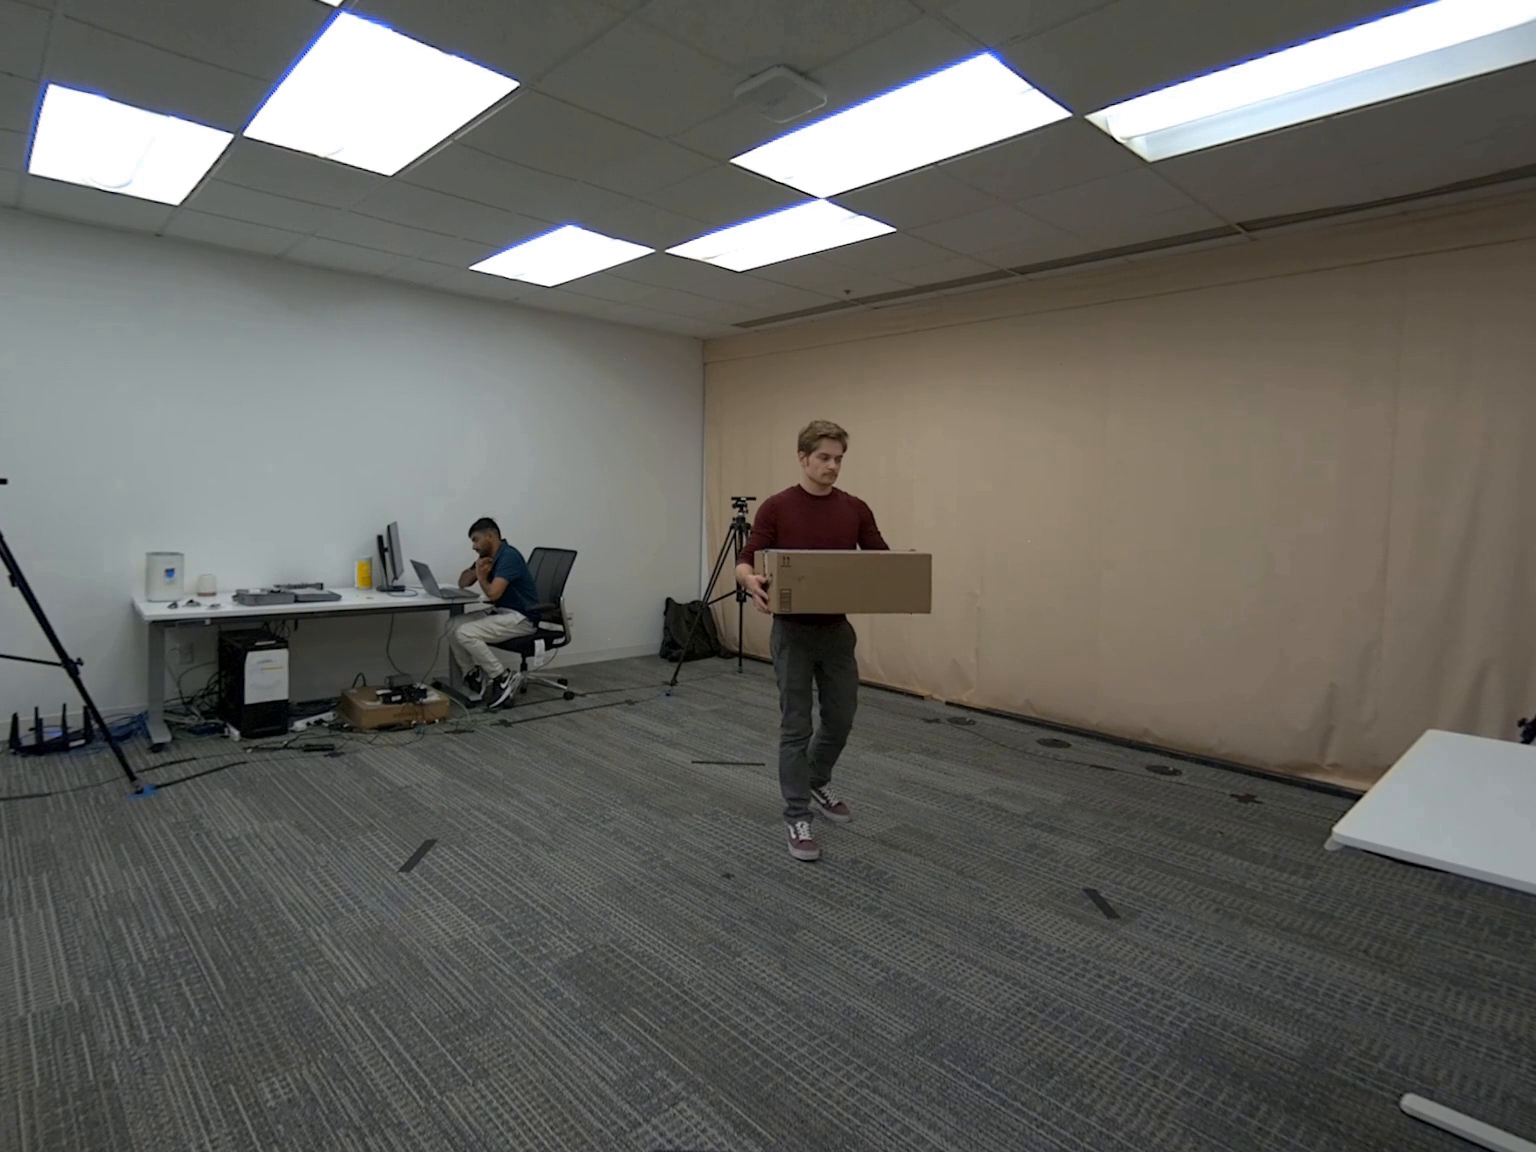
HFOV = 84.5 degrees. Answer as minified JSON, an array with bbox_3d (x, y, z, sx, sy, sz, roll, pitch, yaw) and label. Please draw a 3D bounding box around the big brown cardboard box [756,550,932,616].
[{"bbox_3d":[0.258,0.020,3.145,0.584,0.233,0.421,0,1,-12],"label":"big brown cardboard box"}]
